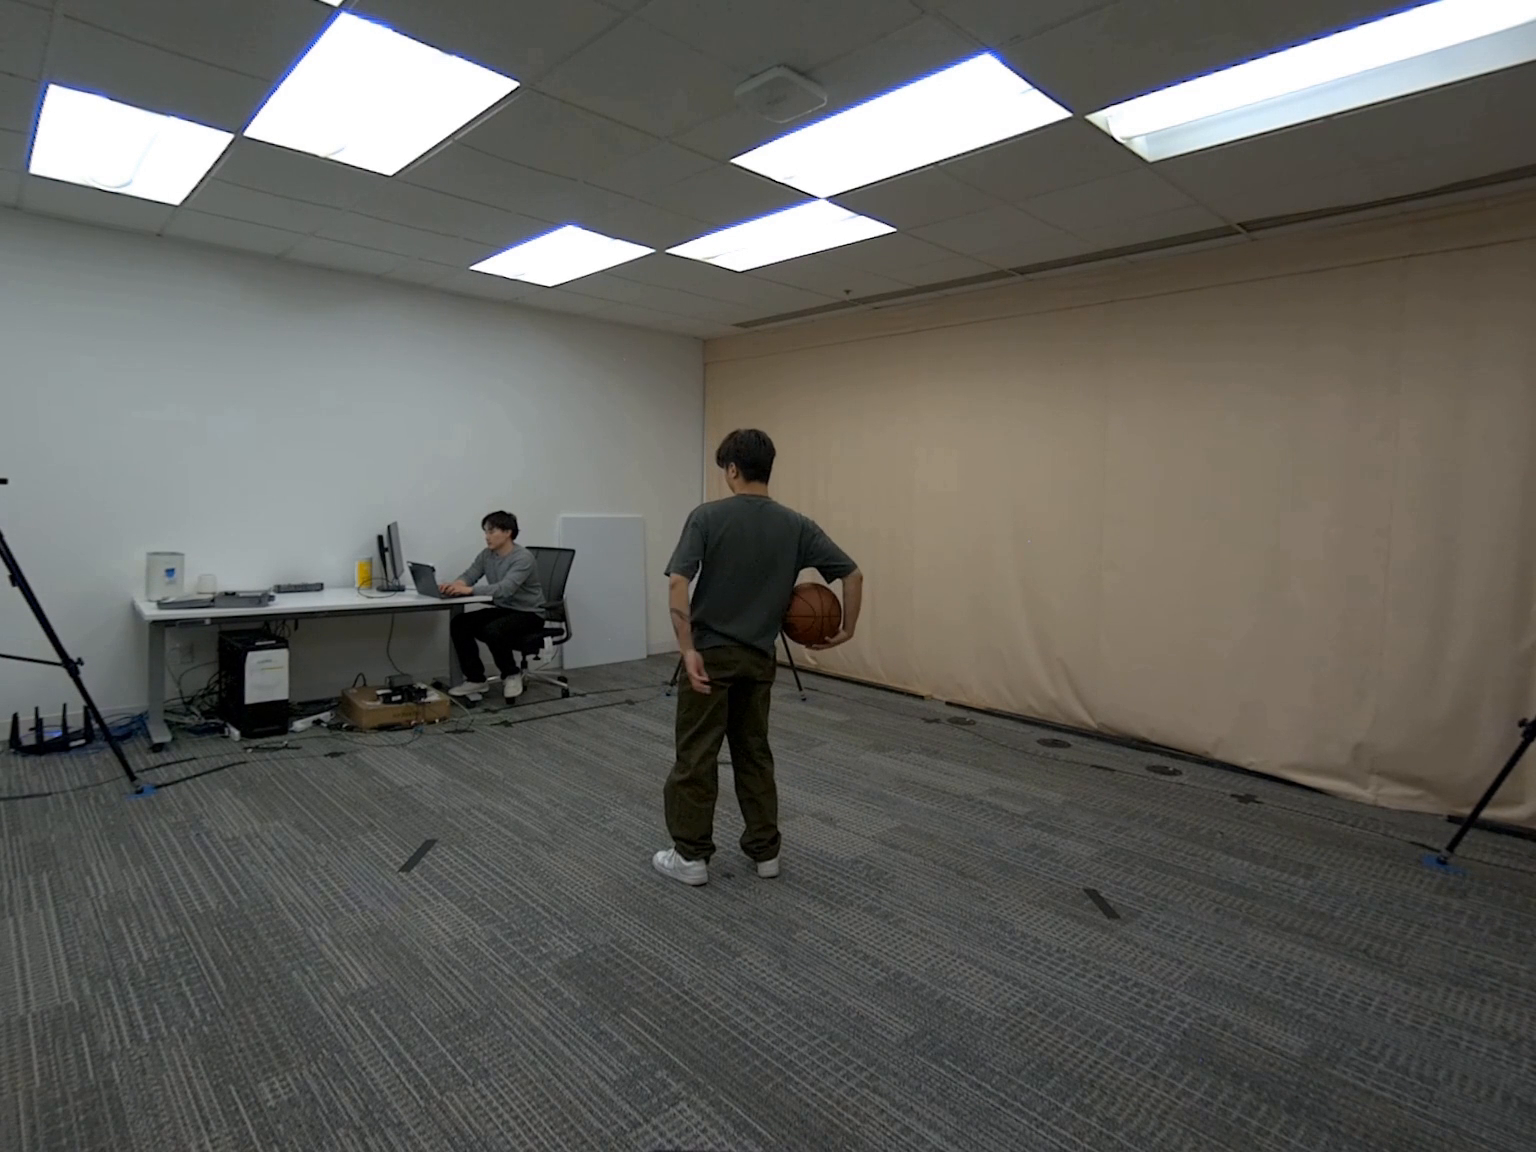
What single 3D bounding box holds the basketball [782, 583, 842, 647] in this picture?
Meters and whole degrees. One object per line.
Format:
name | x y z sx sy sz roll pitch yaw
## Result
basketball | 0.134 0.140 3.160 0.236 0.235 0.237 1 4 -1
